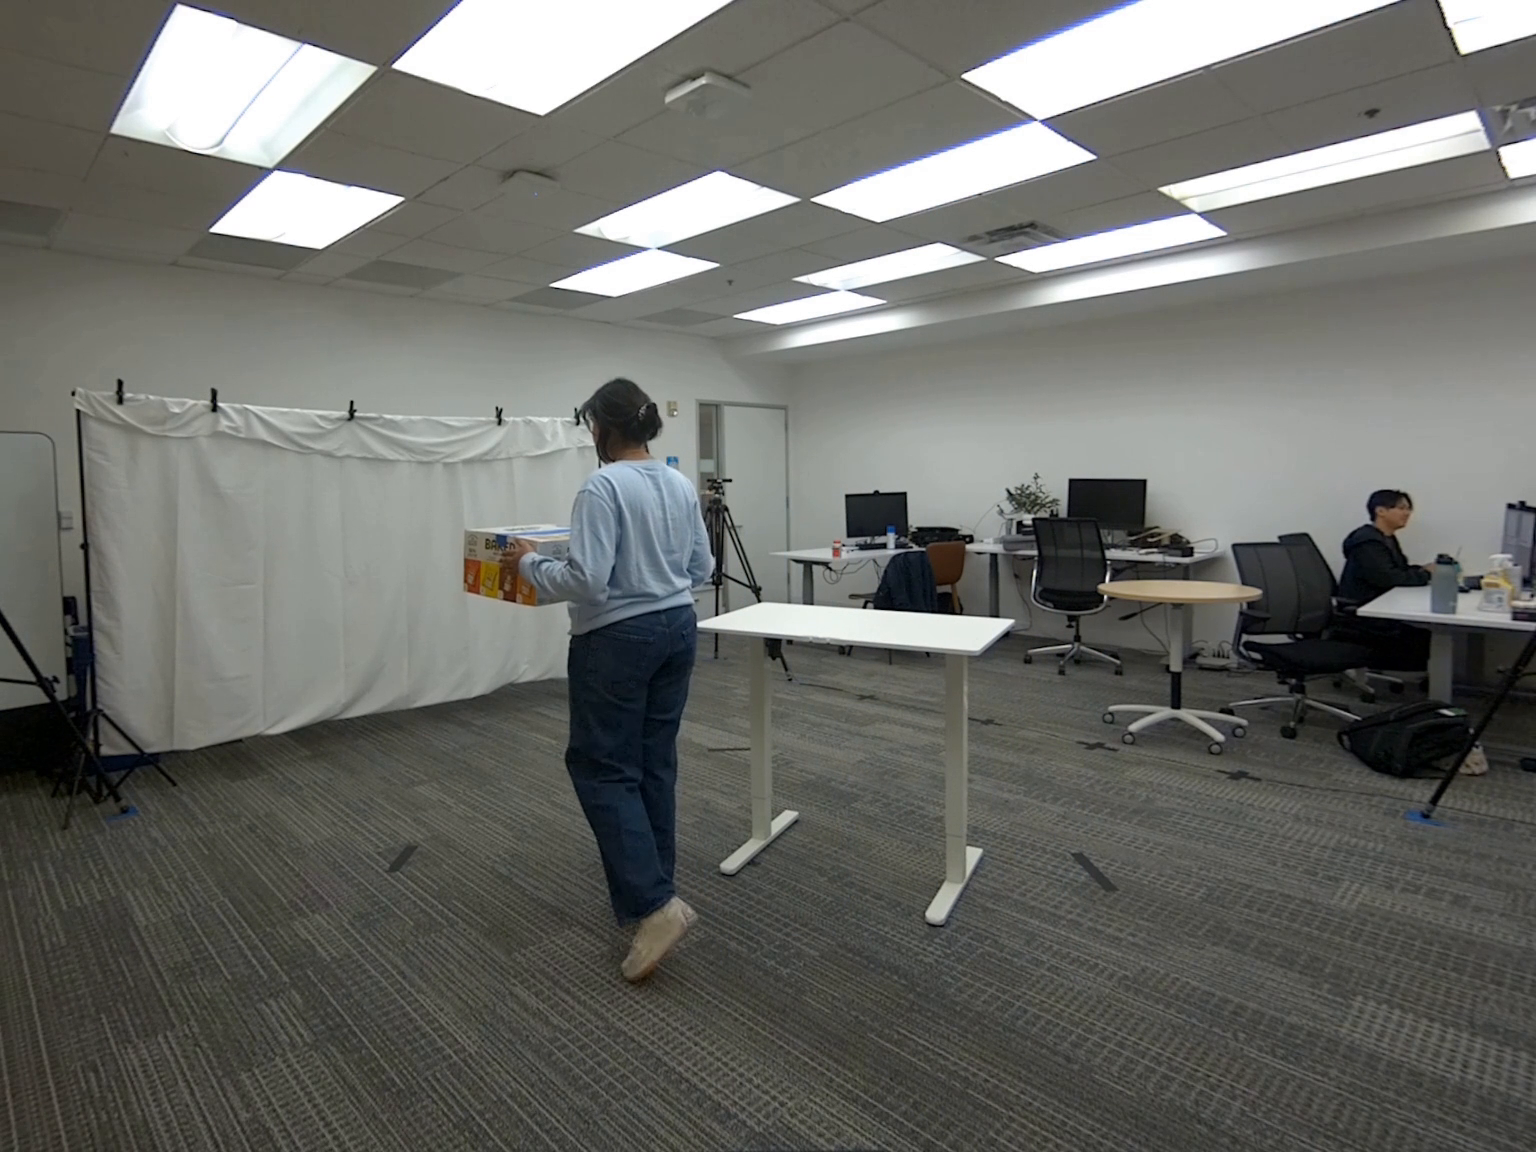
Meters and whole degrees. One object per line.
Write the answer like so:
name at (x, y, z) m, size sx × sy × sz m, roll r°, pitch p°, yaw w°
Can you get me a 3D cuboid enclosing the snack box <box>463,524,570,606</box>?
snack box at (-0.735, -0.047, 2.828) m, size 0.350 × 0.204 × 0.396 m, roll 8°, pitch 9°, yaw 32°
